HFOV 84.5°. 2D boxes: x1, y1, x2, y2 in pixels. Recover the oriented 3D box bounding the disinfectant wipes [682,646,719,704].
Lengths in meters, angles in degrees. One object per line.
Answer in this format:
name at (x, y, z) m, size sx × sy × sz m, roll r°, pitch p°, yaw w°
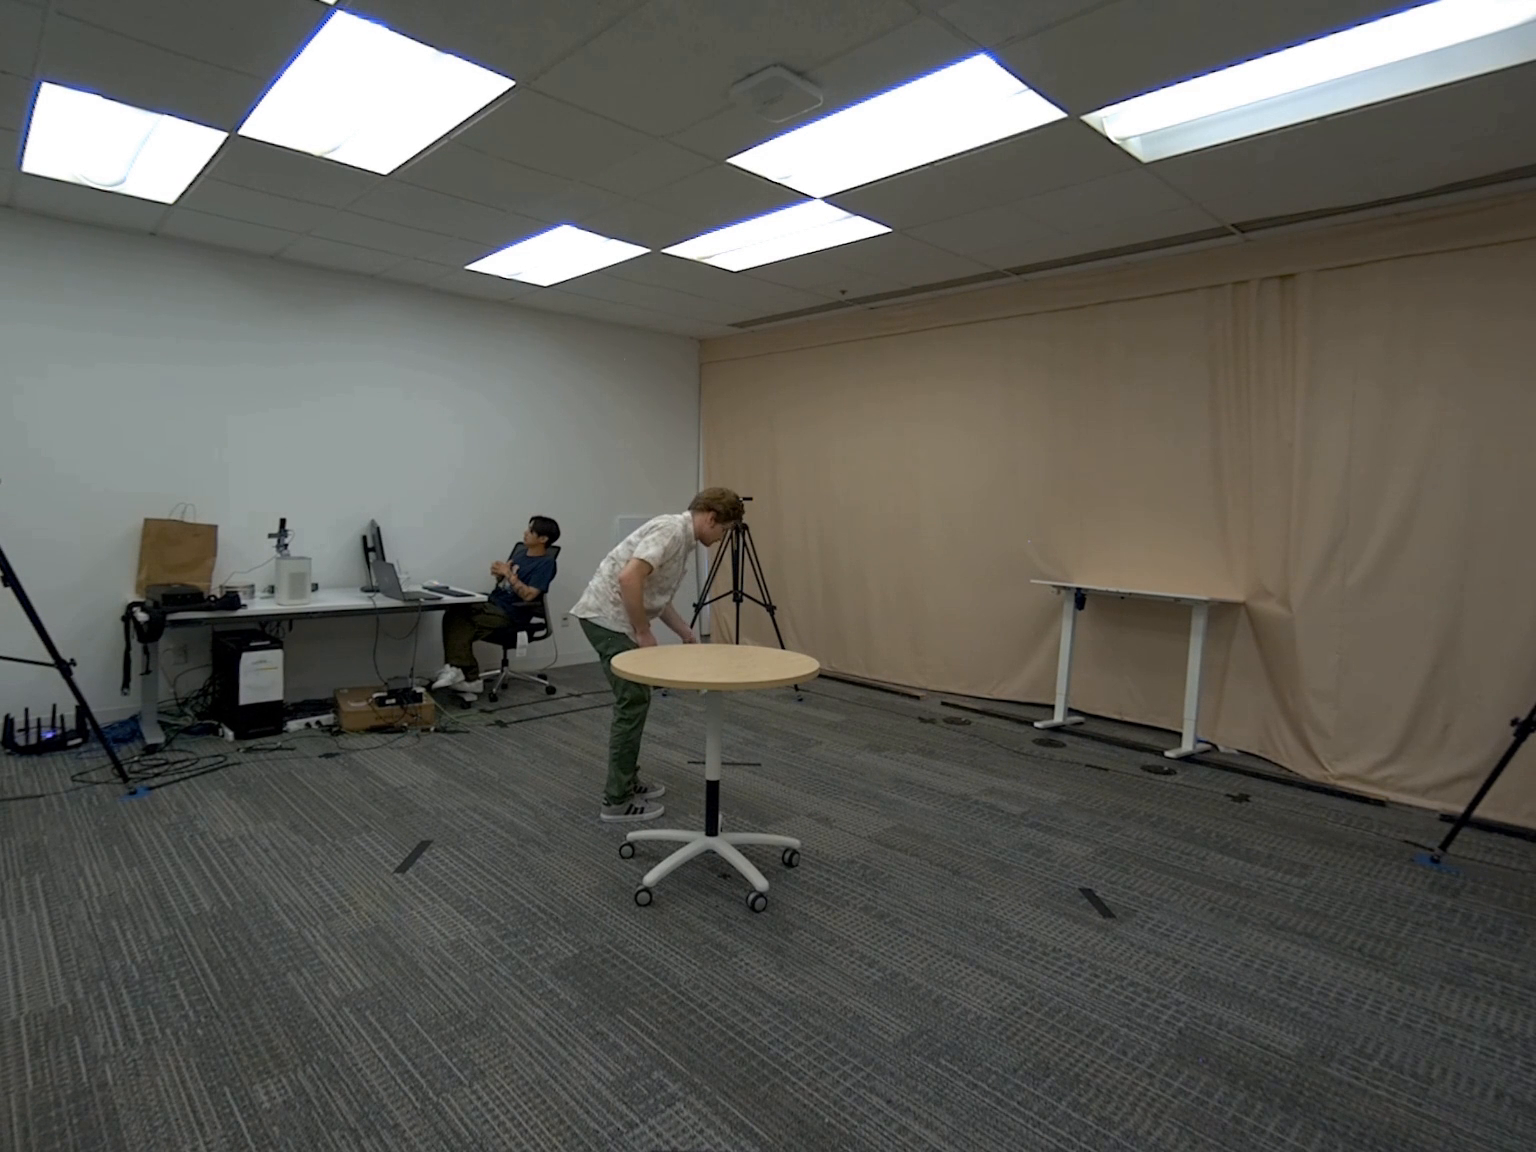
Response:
disinfectant wipes at (-0.322, 0.464, 3.991) m, size 0.117 × 0.222 × 0.116 m, roll -14°, pitch -22°, yaw -7°
